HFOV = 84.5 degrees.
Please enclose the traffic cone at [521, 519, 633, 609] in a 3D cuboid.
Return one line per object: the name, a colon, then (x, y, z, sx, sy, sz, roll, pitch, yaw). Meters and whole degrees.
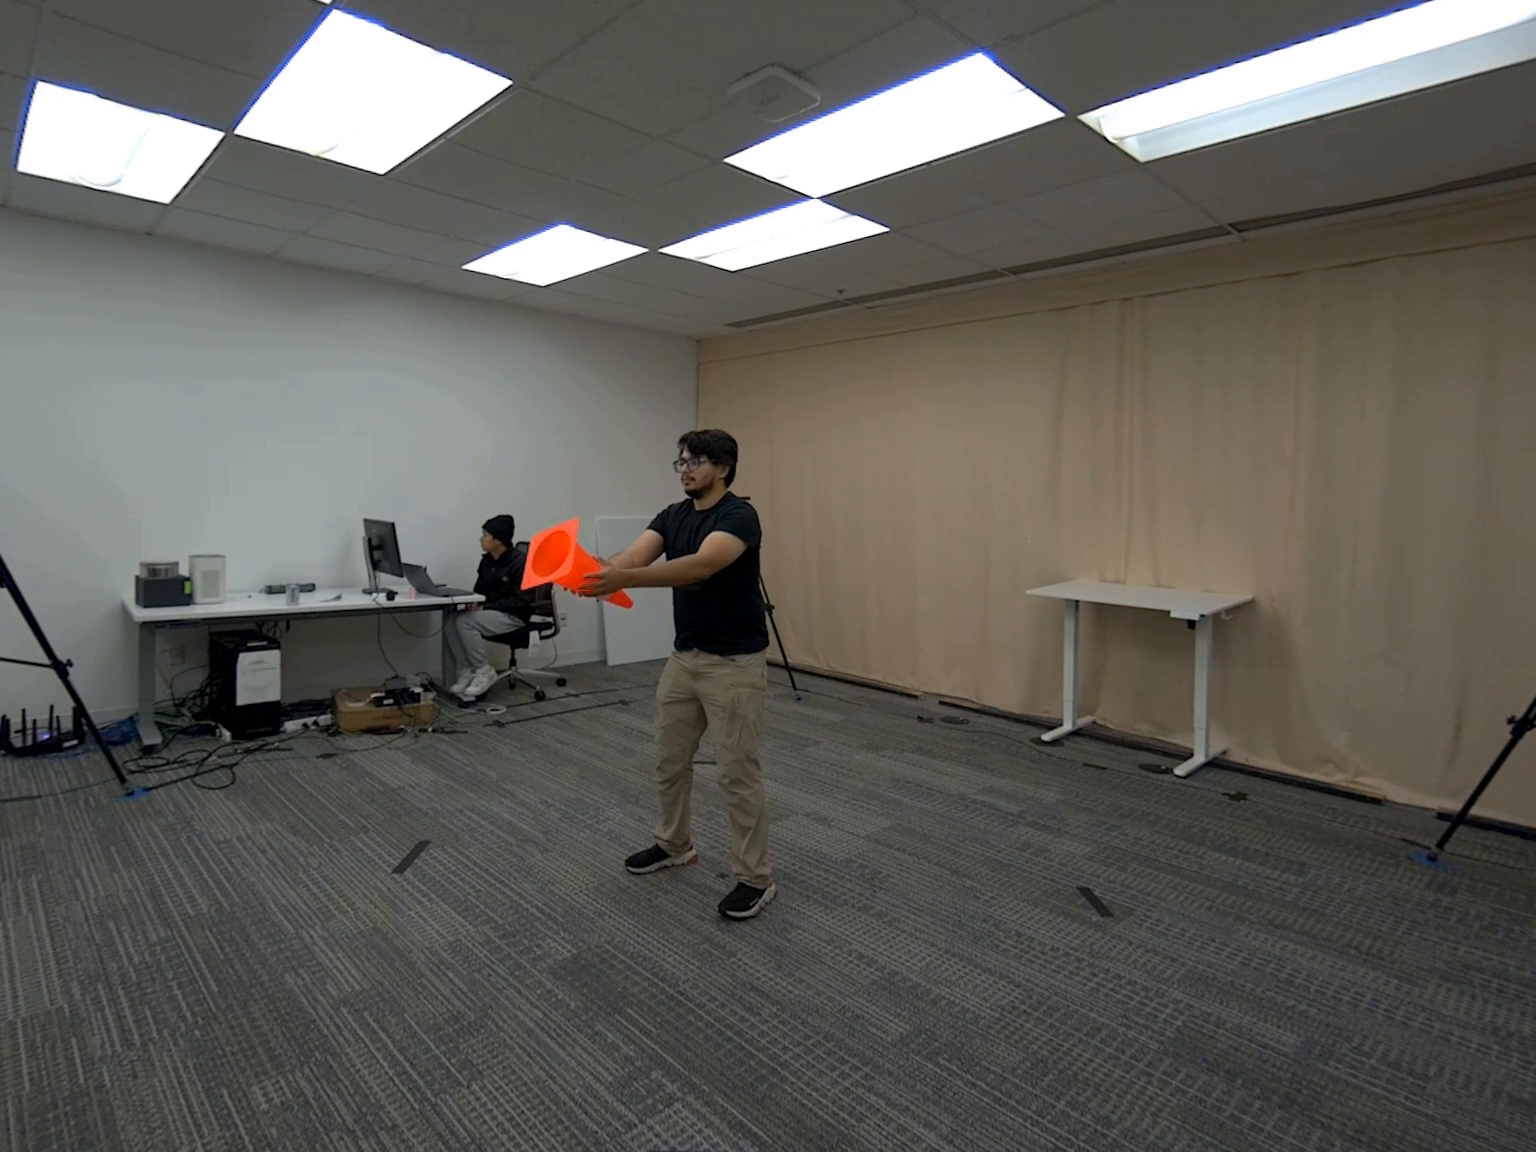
traffic cone: (-0.555, 0.015, 2.625, 0.207, 0.207, 0.371, -20, -36, 28)
